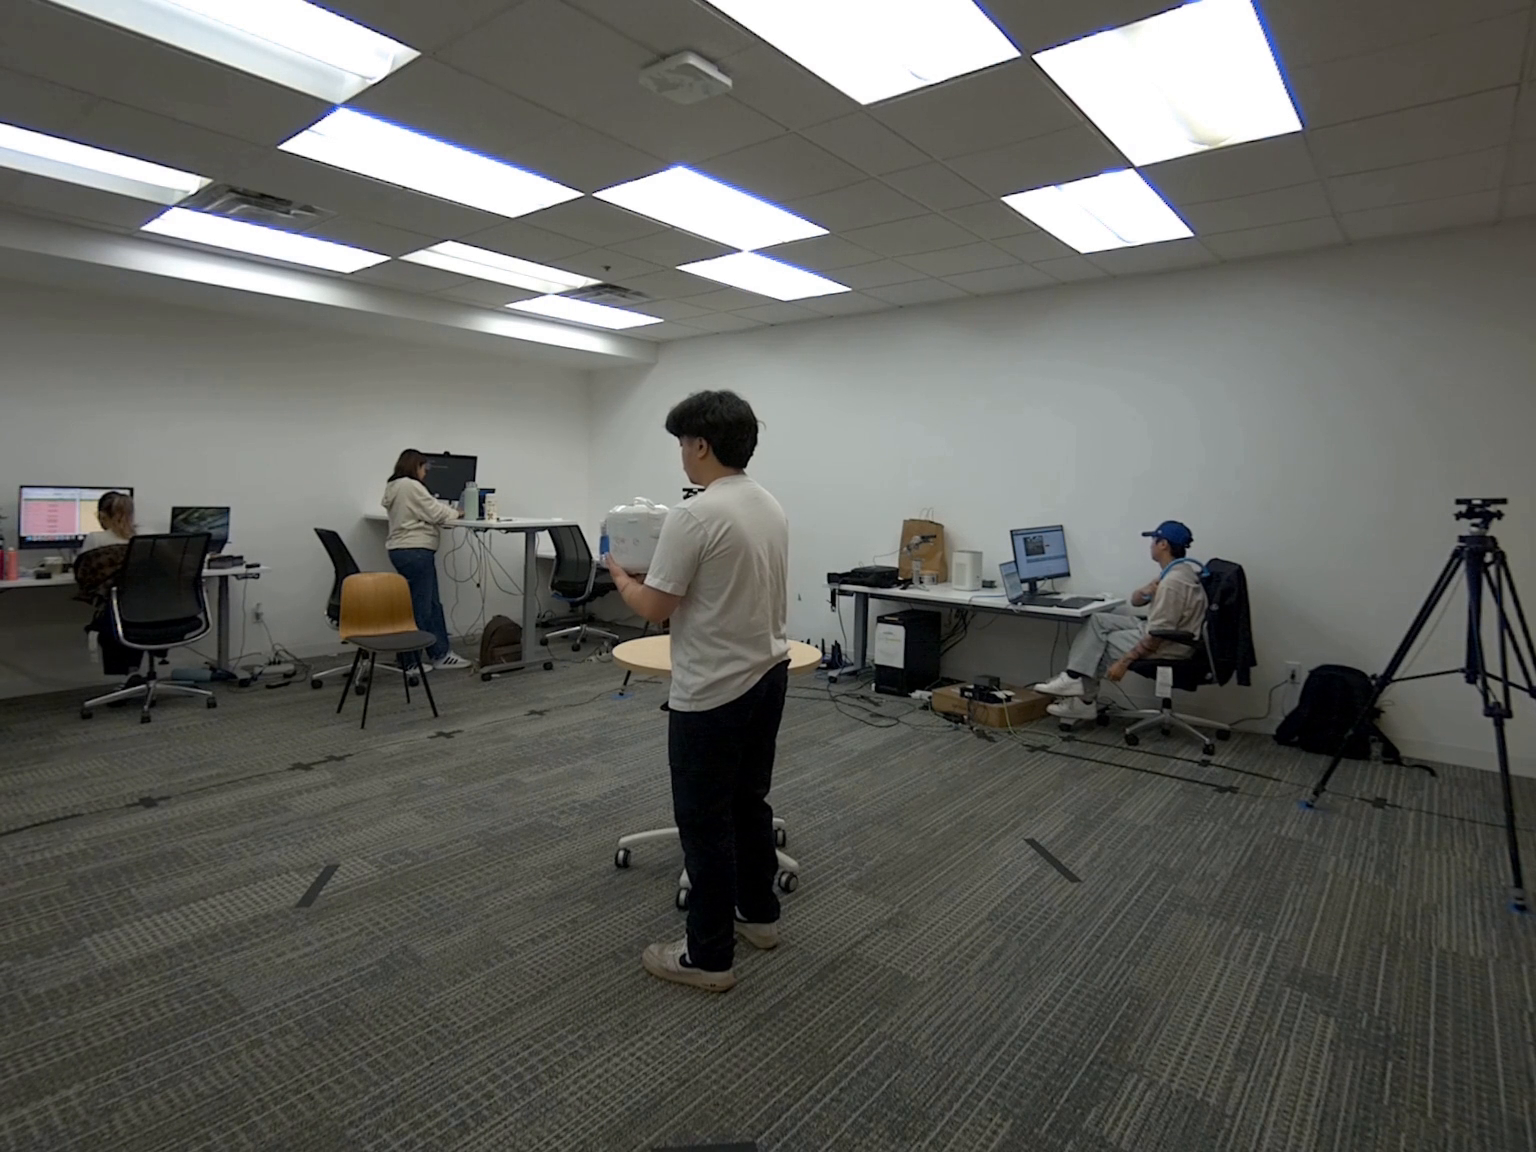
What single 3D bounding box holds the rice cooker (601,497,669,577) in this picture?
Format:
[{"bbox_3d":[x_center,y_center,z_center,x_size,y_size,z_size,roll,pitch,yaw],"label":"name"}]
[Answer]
[{"bbox_3d":[-0.407,-0.132,2.662,0.211,0.232,0.227,-4,6,-33],"label":"rice cooker"}]
